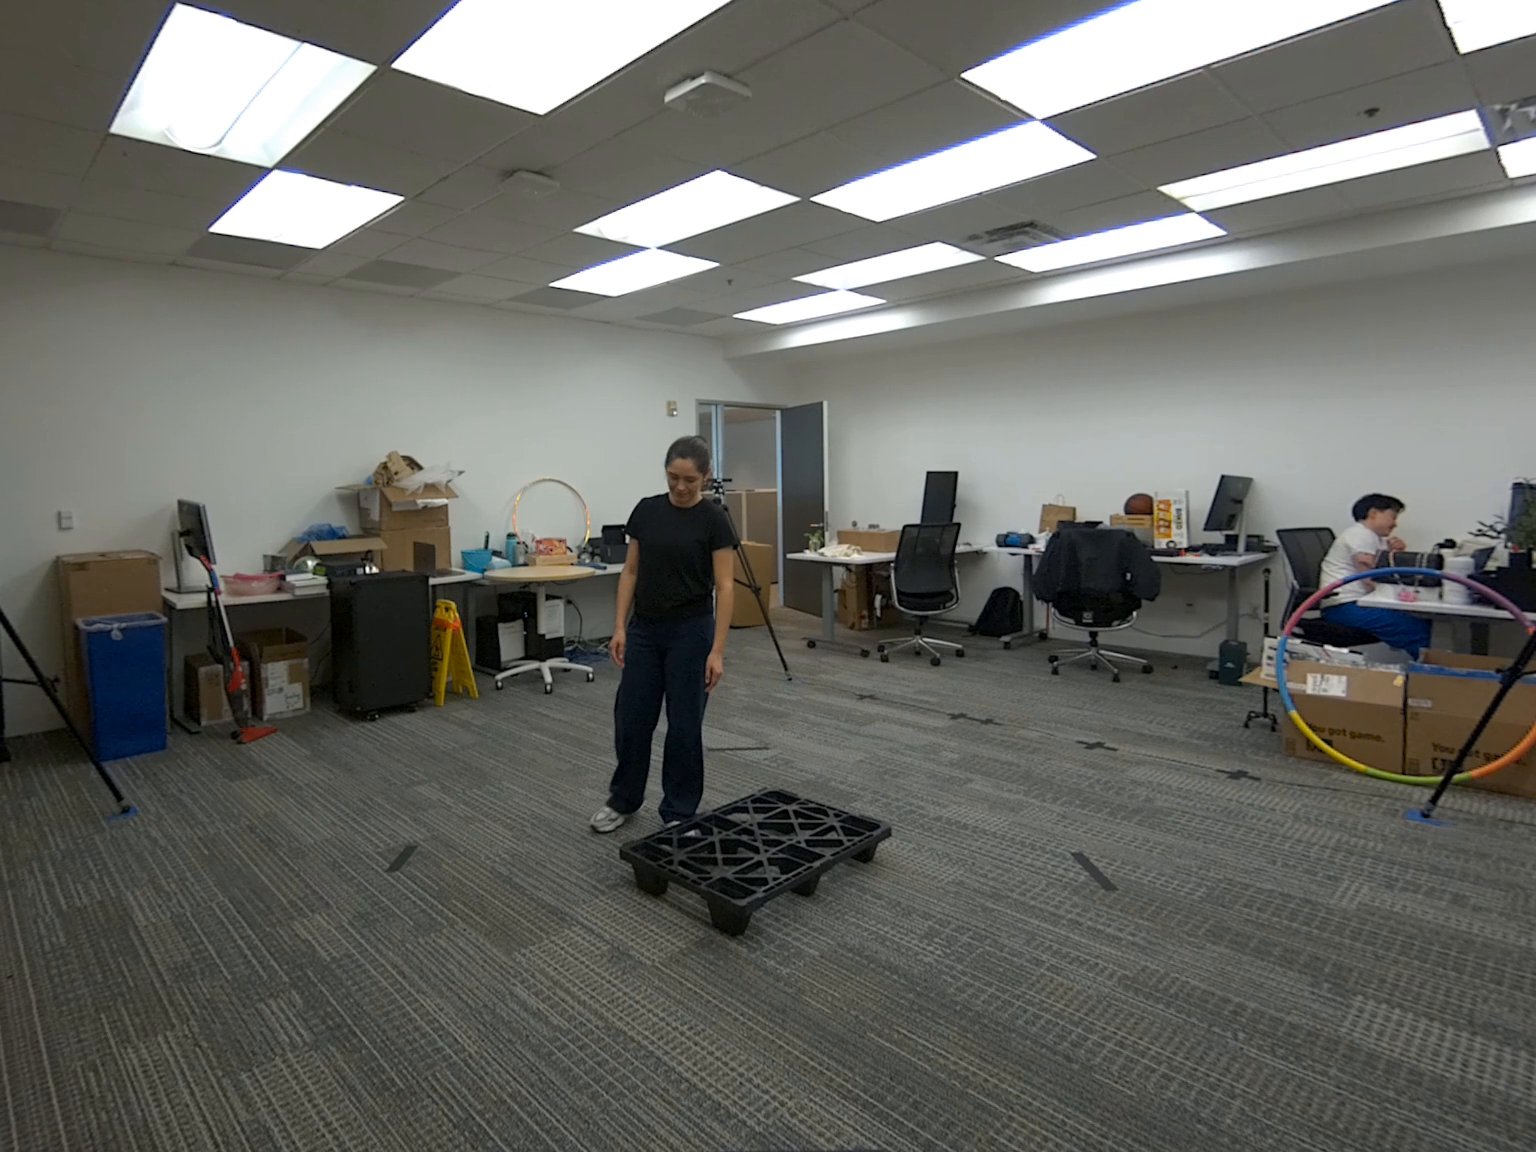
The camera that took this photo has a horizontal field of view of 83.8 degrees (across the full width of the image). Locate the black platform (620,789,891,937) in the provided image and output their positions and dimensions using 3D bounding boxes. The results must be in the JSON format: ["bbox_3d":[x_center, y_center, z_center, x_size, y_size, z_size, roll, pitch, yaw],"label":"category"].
[{"bbox_3d":[-0.026,0.988,3.032,0.624,0.142,0.785,6,9,43],"label":"black platform"}]
